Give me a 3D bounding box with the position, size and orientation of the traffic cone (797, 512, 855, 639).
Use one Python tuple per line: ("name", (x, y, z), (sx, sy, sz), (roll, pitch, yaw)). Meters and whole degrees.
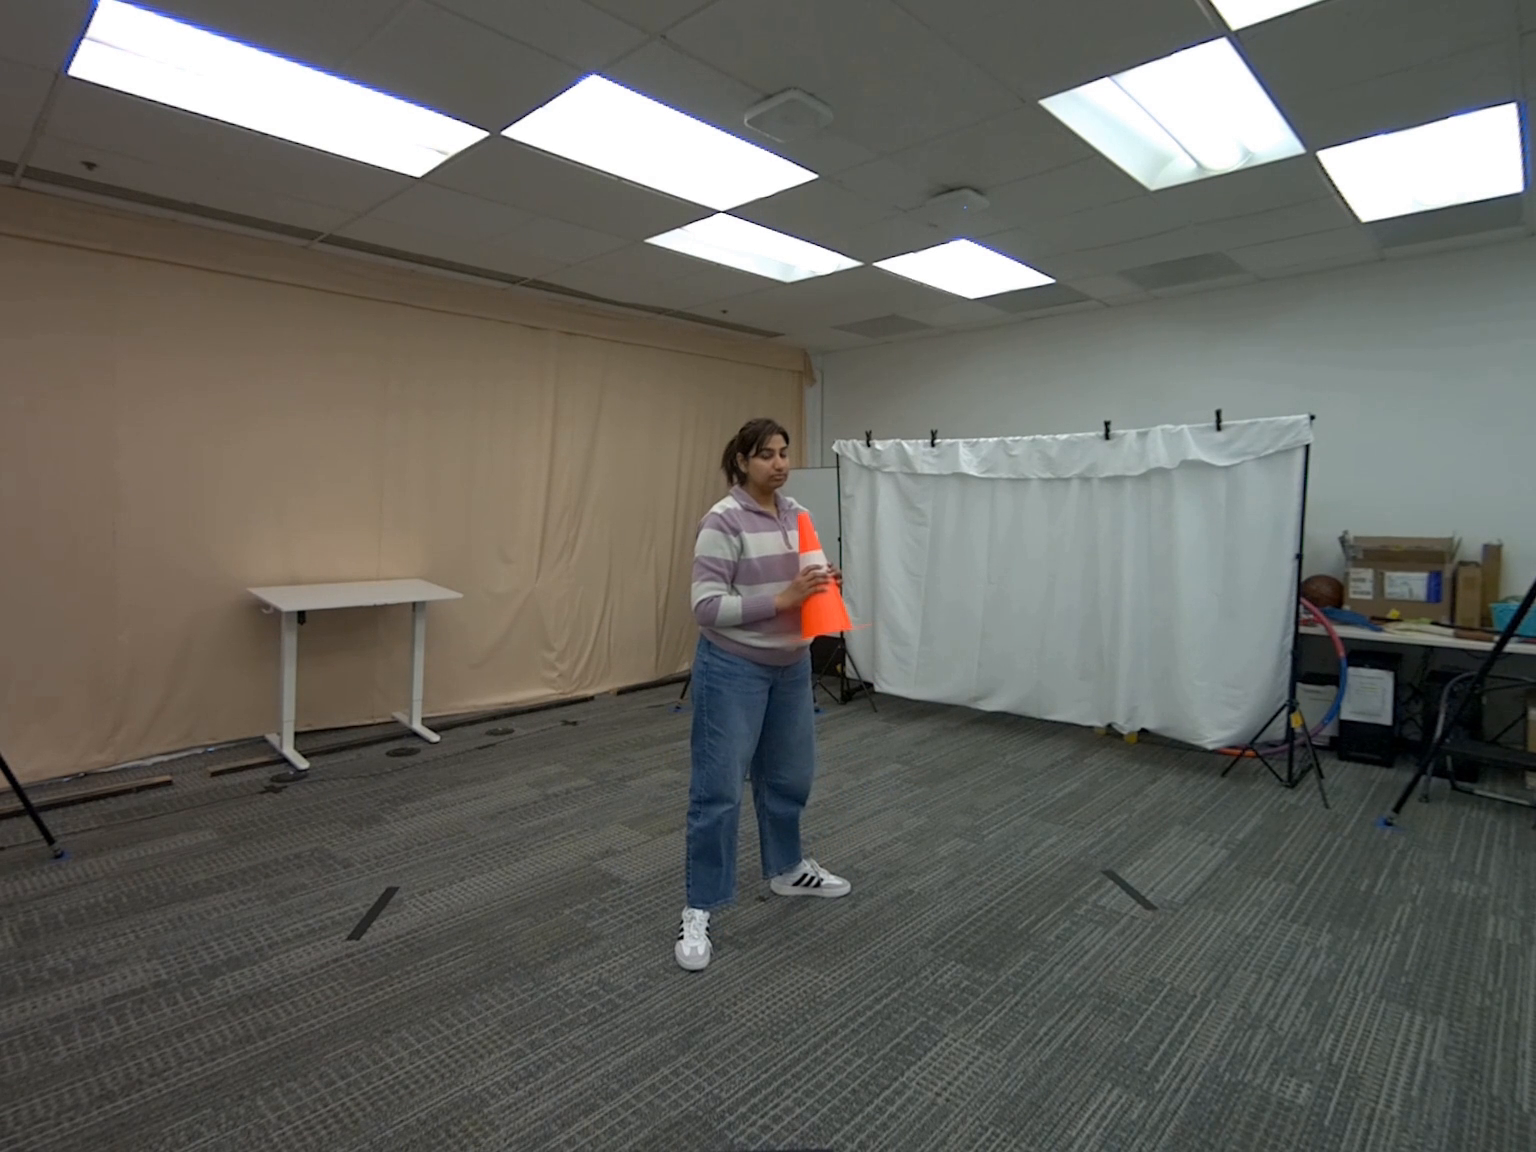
("traffic cone", (0.143, -0.008, 2.600), (0.207, 0.386, 0.200), (-11, -7, 21))
